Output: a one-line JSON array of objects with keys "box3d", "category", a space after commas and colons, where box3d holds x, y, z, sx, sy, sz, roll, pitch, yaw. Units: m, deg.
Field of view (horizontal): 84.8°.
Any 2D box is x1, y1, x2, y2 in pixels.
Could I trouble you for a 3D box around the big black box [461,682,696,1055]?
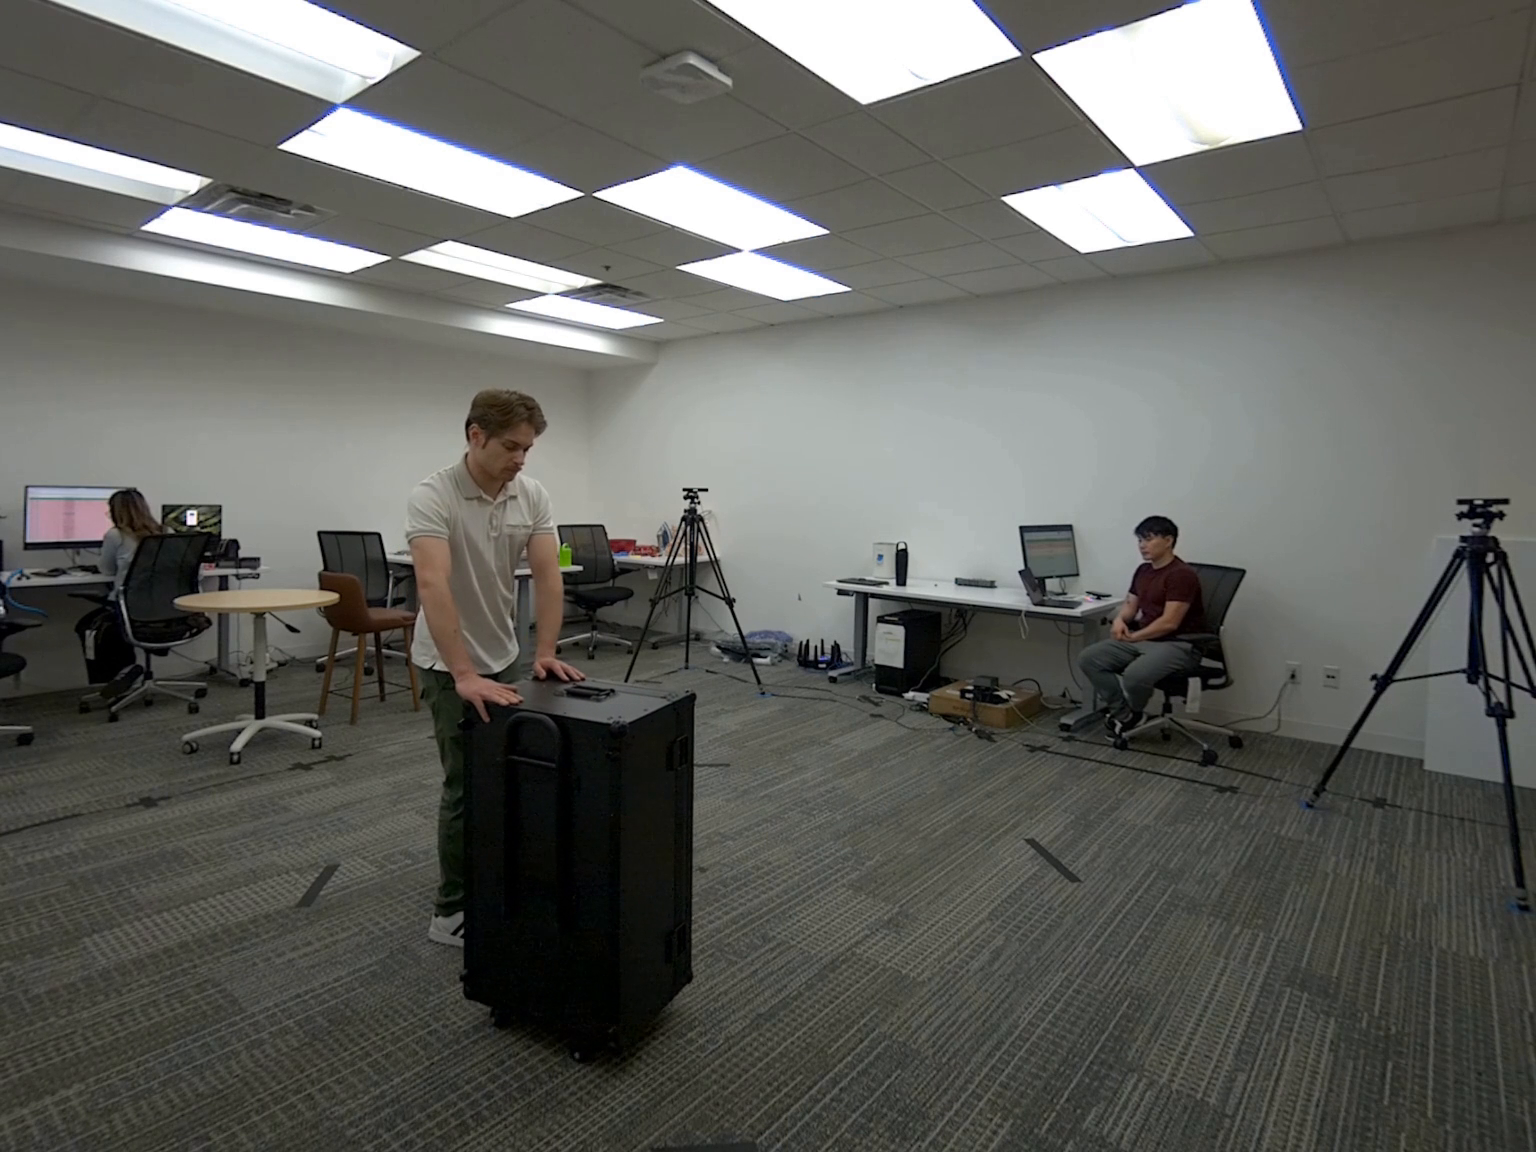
[{"box3d": [-0.491, 0.731, 2.206, 0.537, 0.866, 0.376, 2, 3, 25], "category": "big black box"}]
